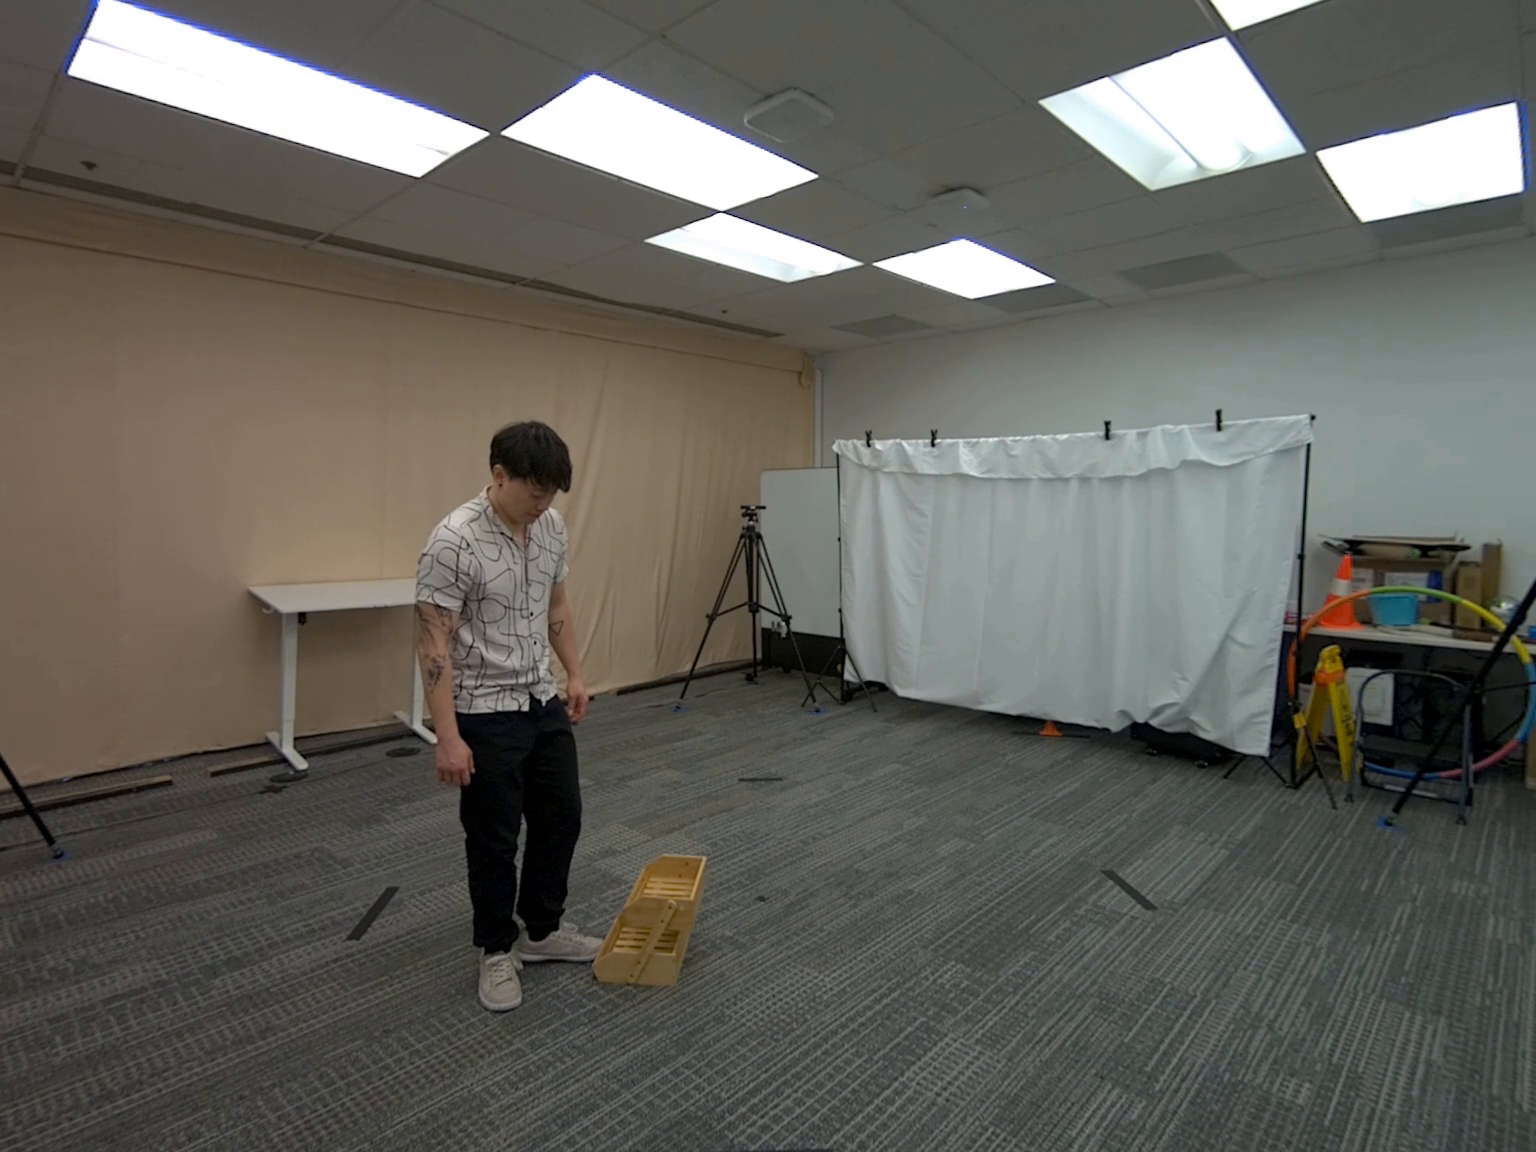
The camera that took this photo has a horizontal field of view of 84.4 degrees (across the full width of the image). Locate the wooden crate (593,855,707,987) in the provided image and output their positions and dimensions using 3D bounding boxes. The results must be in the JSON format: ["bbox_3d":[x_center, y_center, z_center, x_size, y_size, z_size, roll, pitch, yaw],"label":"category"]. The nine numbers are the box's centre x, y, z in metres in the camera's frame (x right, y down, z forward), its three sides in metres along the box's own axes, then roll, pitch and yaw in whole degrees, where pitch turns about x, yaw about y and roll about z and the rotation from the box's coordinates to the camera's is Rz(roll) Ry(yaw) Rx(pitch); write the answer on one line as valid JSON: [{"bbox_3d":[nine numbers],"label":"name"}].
[{"bbox_3d":[-0.357,1.047,2.586,0.304,0.273,0.323,0,4,5],"label":"wooden crate"}]
